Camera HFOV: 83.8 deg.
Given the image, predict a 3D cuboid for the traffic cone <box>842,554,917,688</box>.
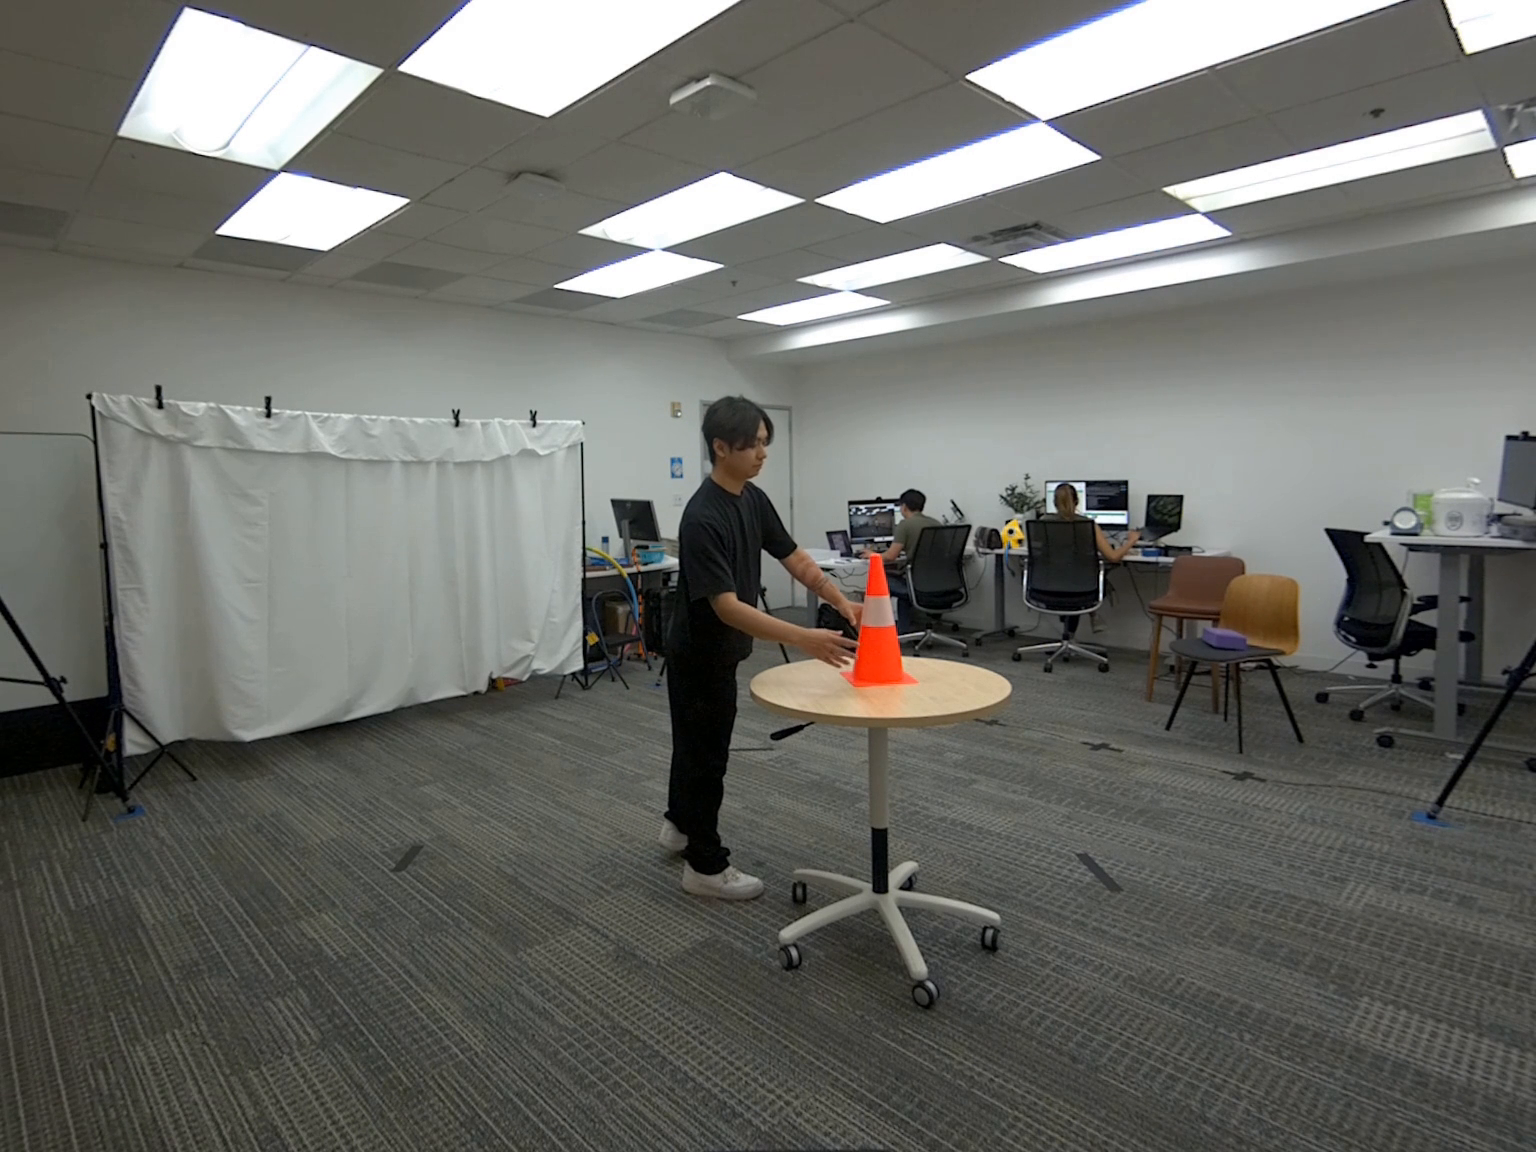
[{"bbox_3d":[0.337,0.131,2.606,0.203,0.383,0.206,-2,3,-10],"label":"traffic cone"}]
